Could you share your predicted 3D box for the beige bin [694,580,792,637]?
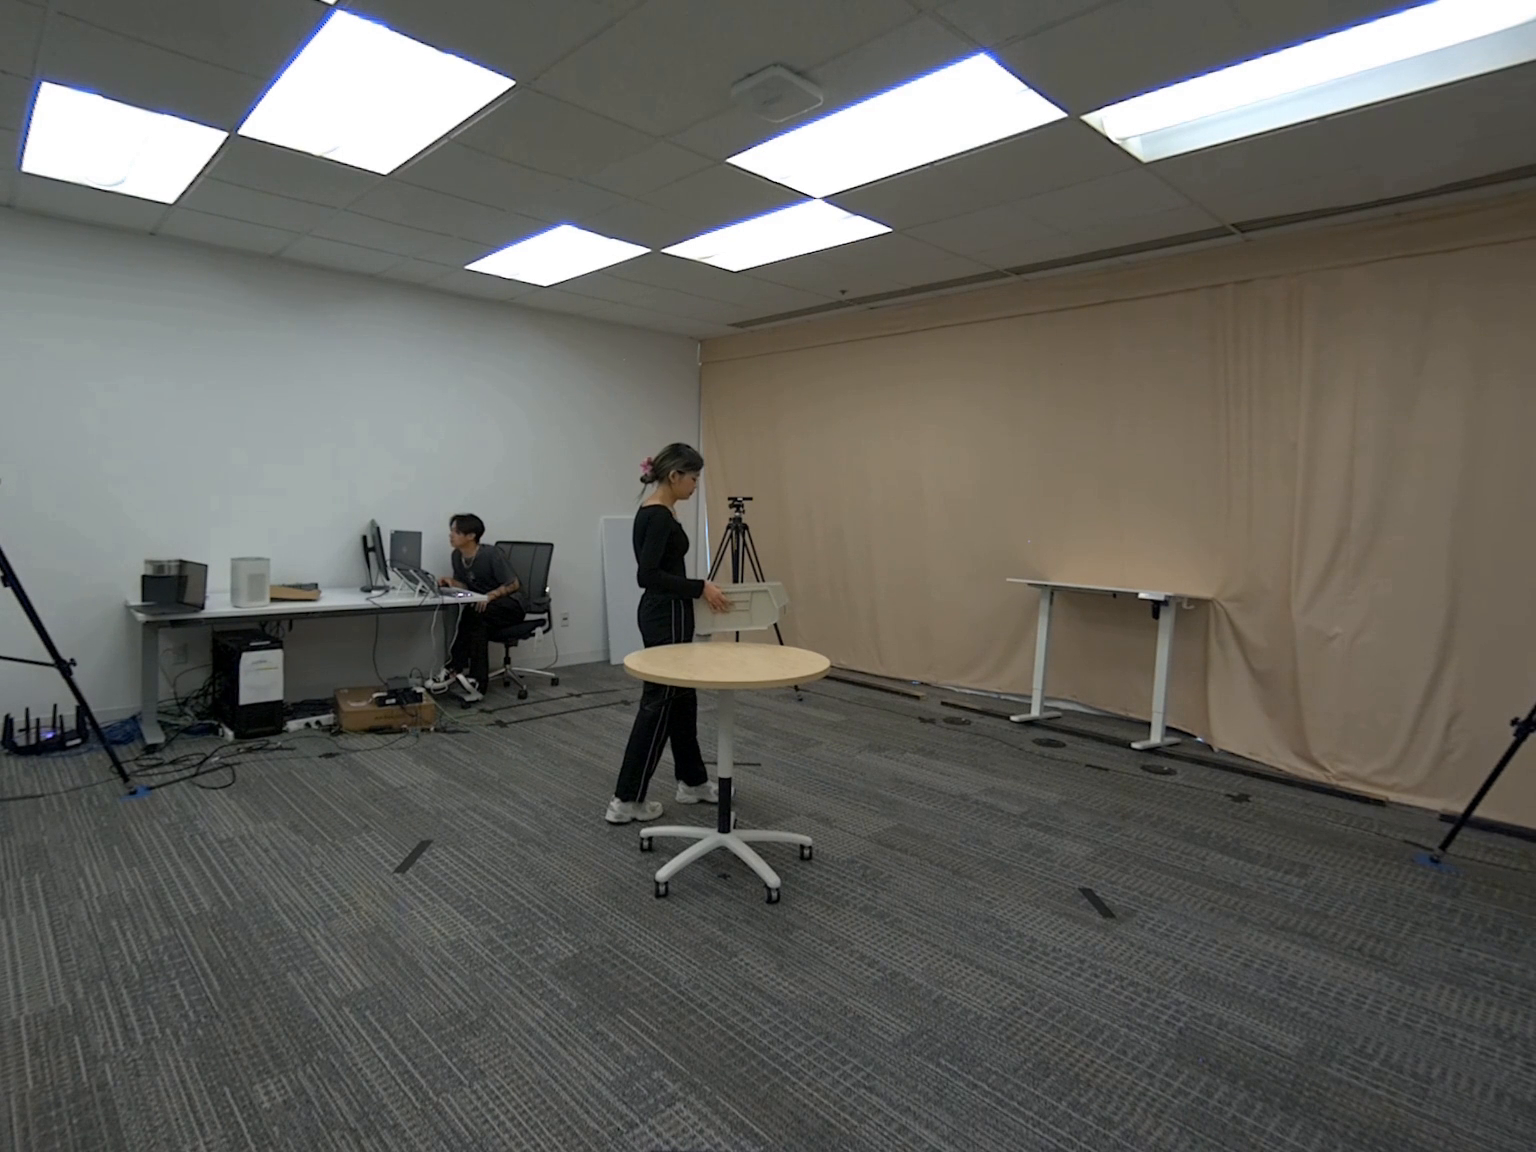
[{"bbox_3d":[-0.118,0.137,3.747,0.380,0.189,0.419,-4,2,10],"label":"beige bin"}]
